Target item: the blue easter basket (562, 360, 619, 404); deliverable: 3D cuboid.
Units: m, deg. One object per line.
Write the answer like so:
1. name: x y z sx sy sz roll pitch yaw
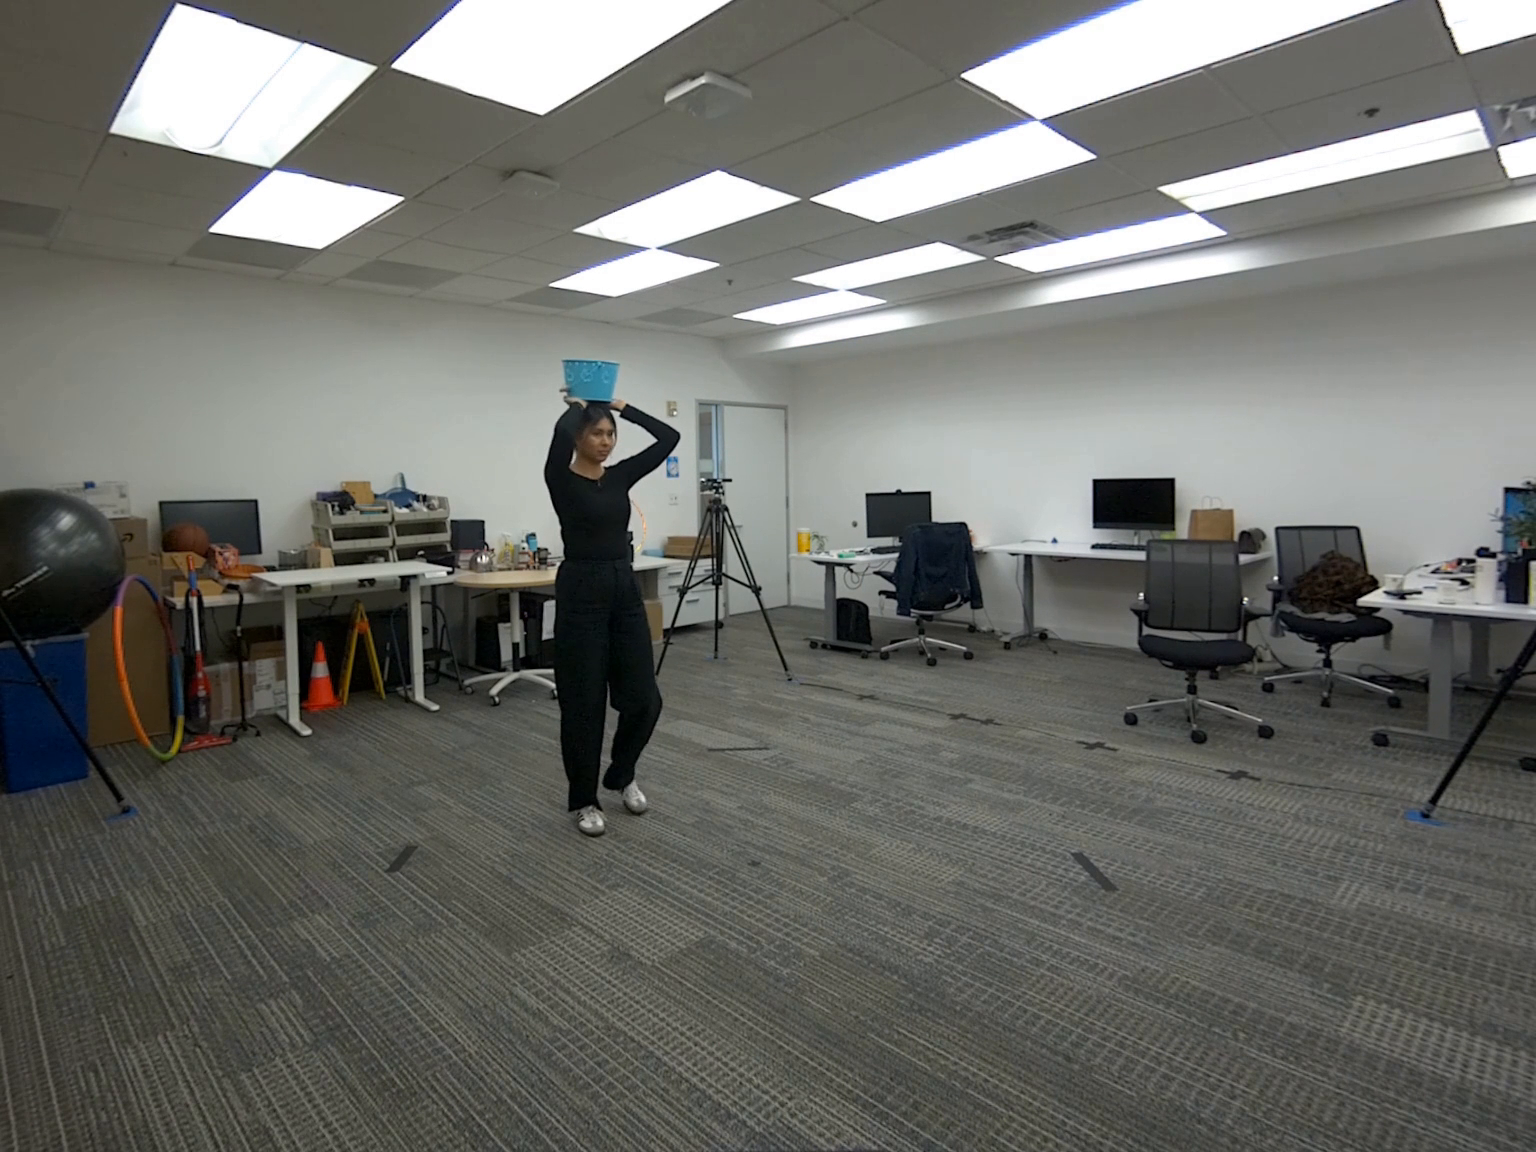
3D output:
1. blue easter basket: -0.723 -0.785 3.435 0.243 0.155 0.245 2 8 -2
